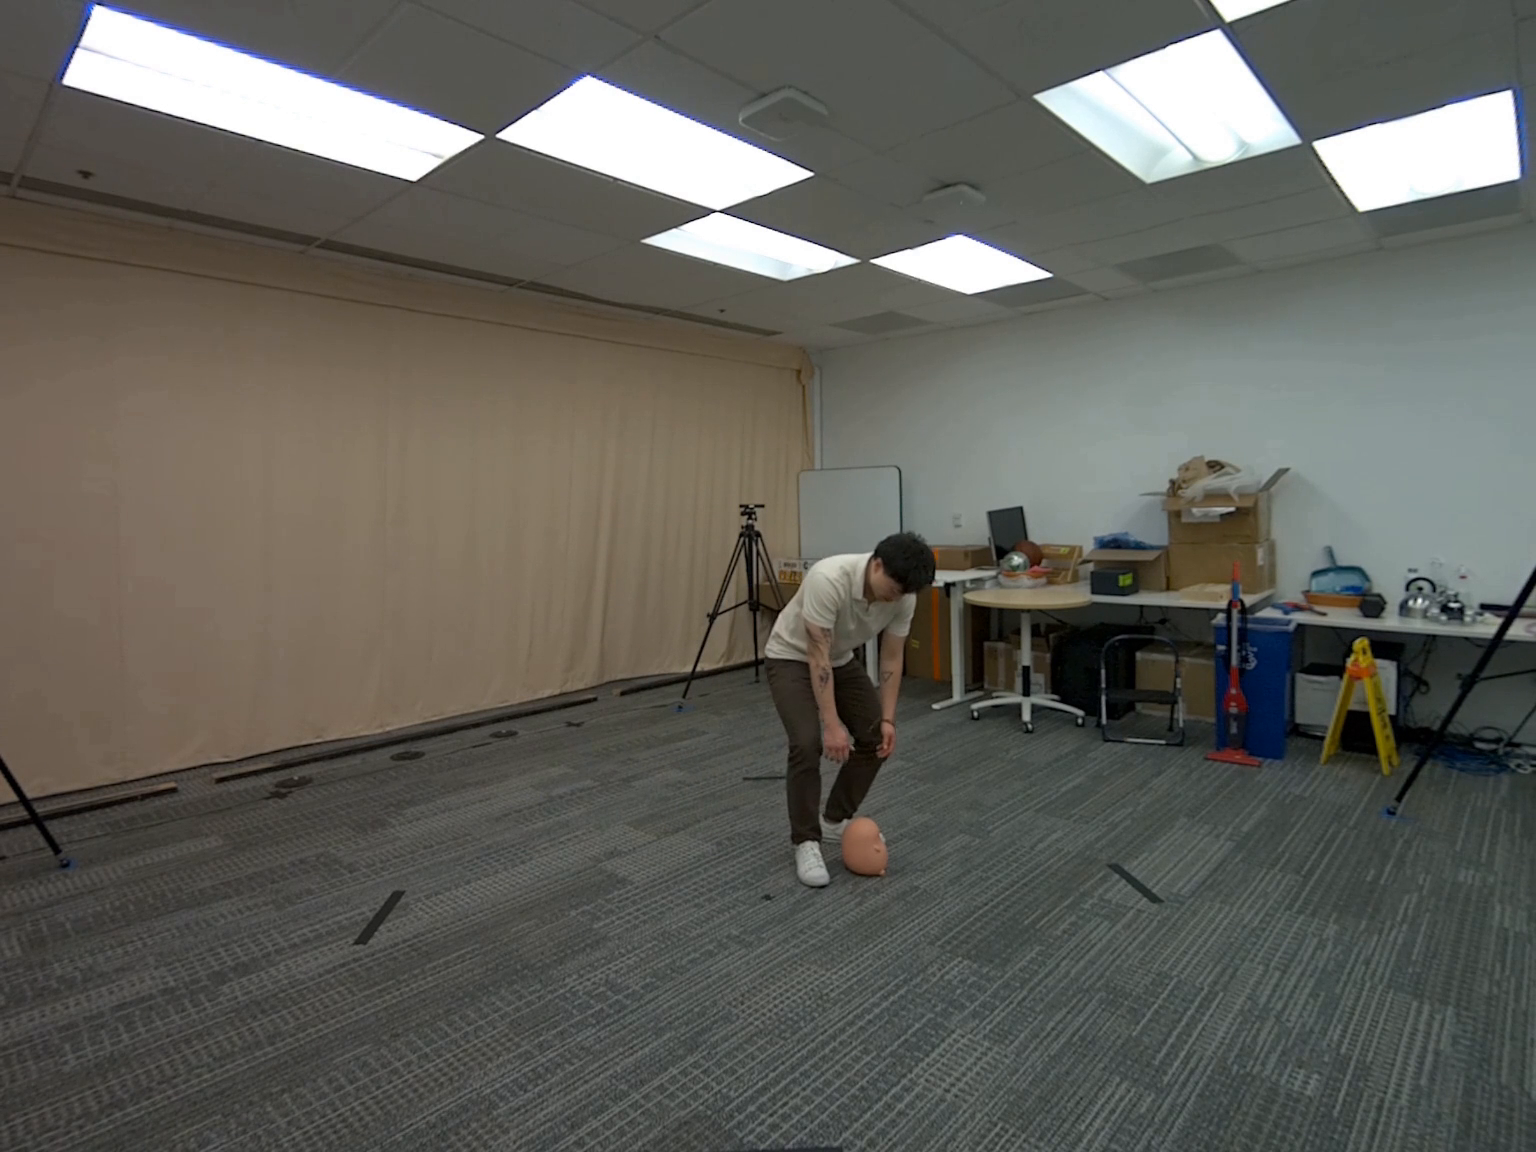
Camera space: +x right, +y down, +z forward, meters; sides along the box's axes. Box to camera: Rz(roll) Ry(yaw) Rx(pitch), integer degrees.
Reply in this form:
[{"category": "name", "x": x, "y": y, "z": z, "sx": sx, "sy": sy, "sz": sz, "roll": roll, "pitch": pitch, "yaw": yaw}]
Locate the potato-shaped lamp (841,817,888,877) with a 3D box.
[{"category": "potato-shaped lamp", "x": 0.370, "y": 1.016, "z": 3.188, "sx": 0.173, "sy": 0.198, "sz": 0.163, "roll": -3, "pitch": 0, "yaw": 9}]
